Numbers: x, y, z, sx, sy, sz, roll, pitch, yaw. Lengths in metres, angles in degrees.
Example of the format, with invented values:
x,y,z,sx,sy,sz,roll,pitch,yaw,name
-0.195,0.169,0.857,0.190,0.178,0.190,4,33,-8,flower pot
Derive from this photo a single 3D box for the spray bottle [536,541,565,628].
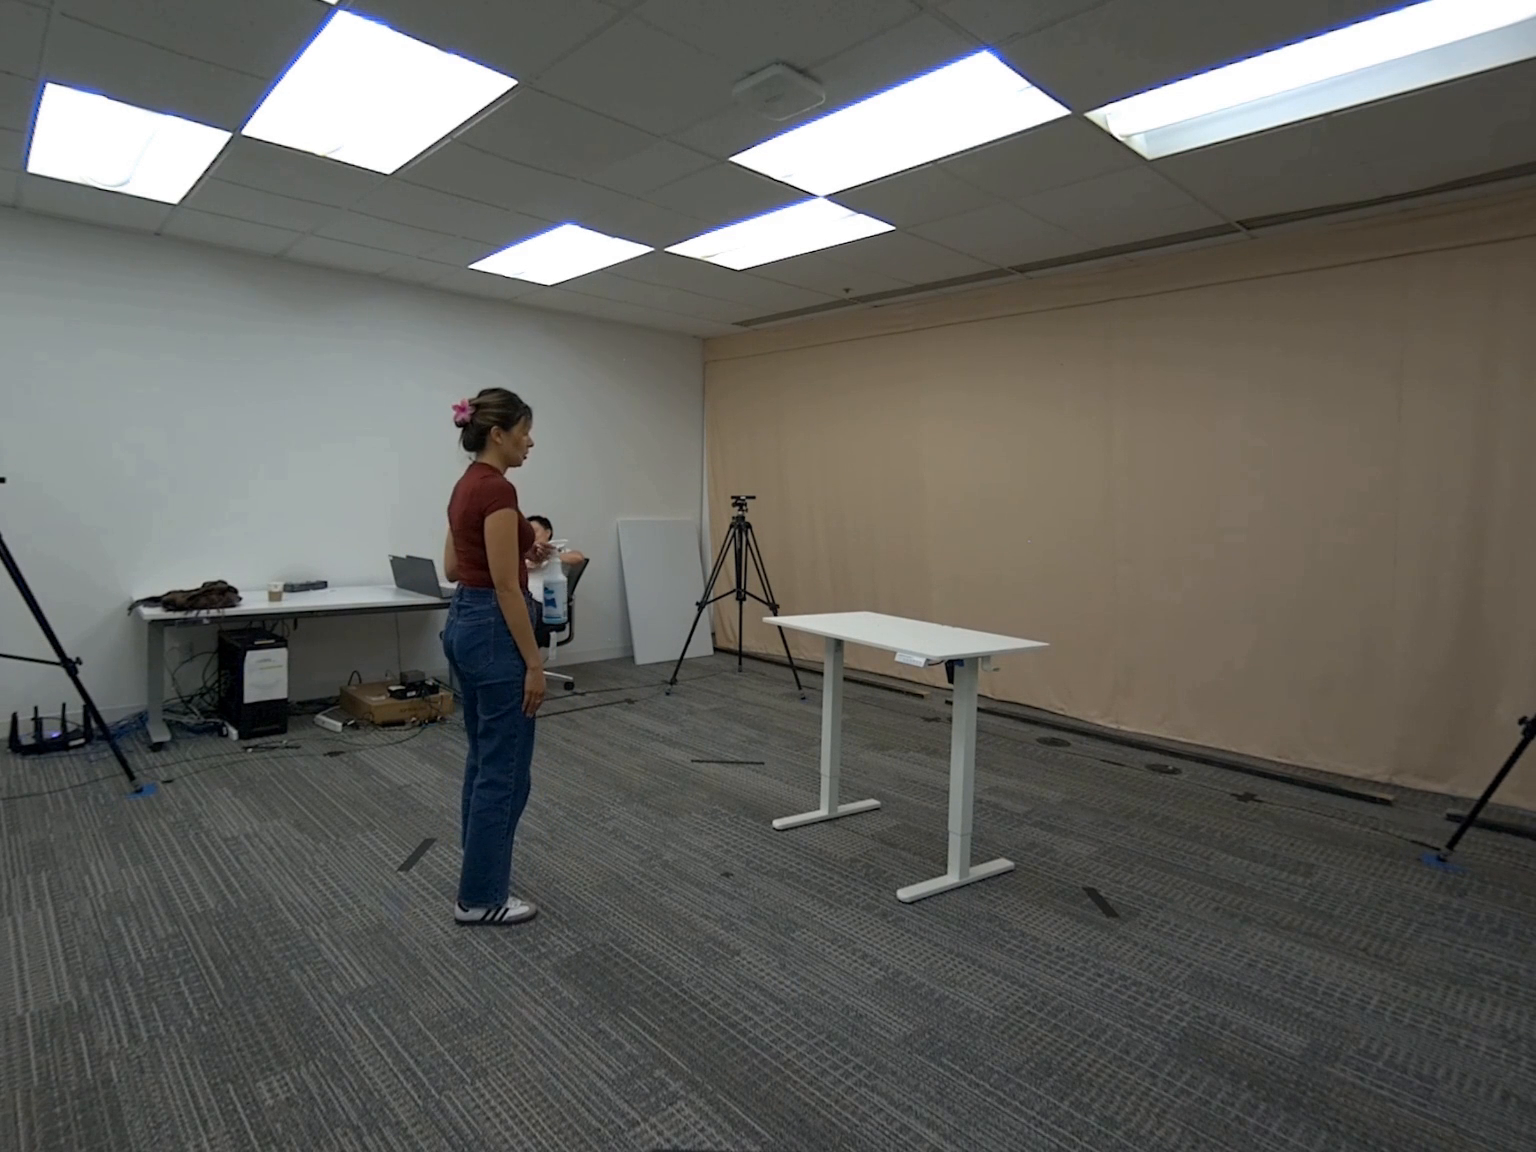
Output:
x,y,z,sx,sy,sz,roll,pitch,yaw,name
-0.776,0.027,3.015,0.089,0.296,0.088,0,5,-8,spray bottle
